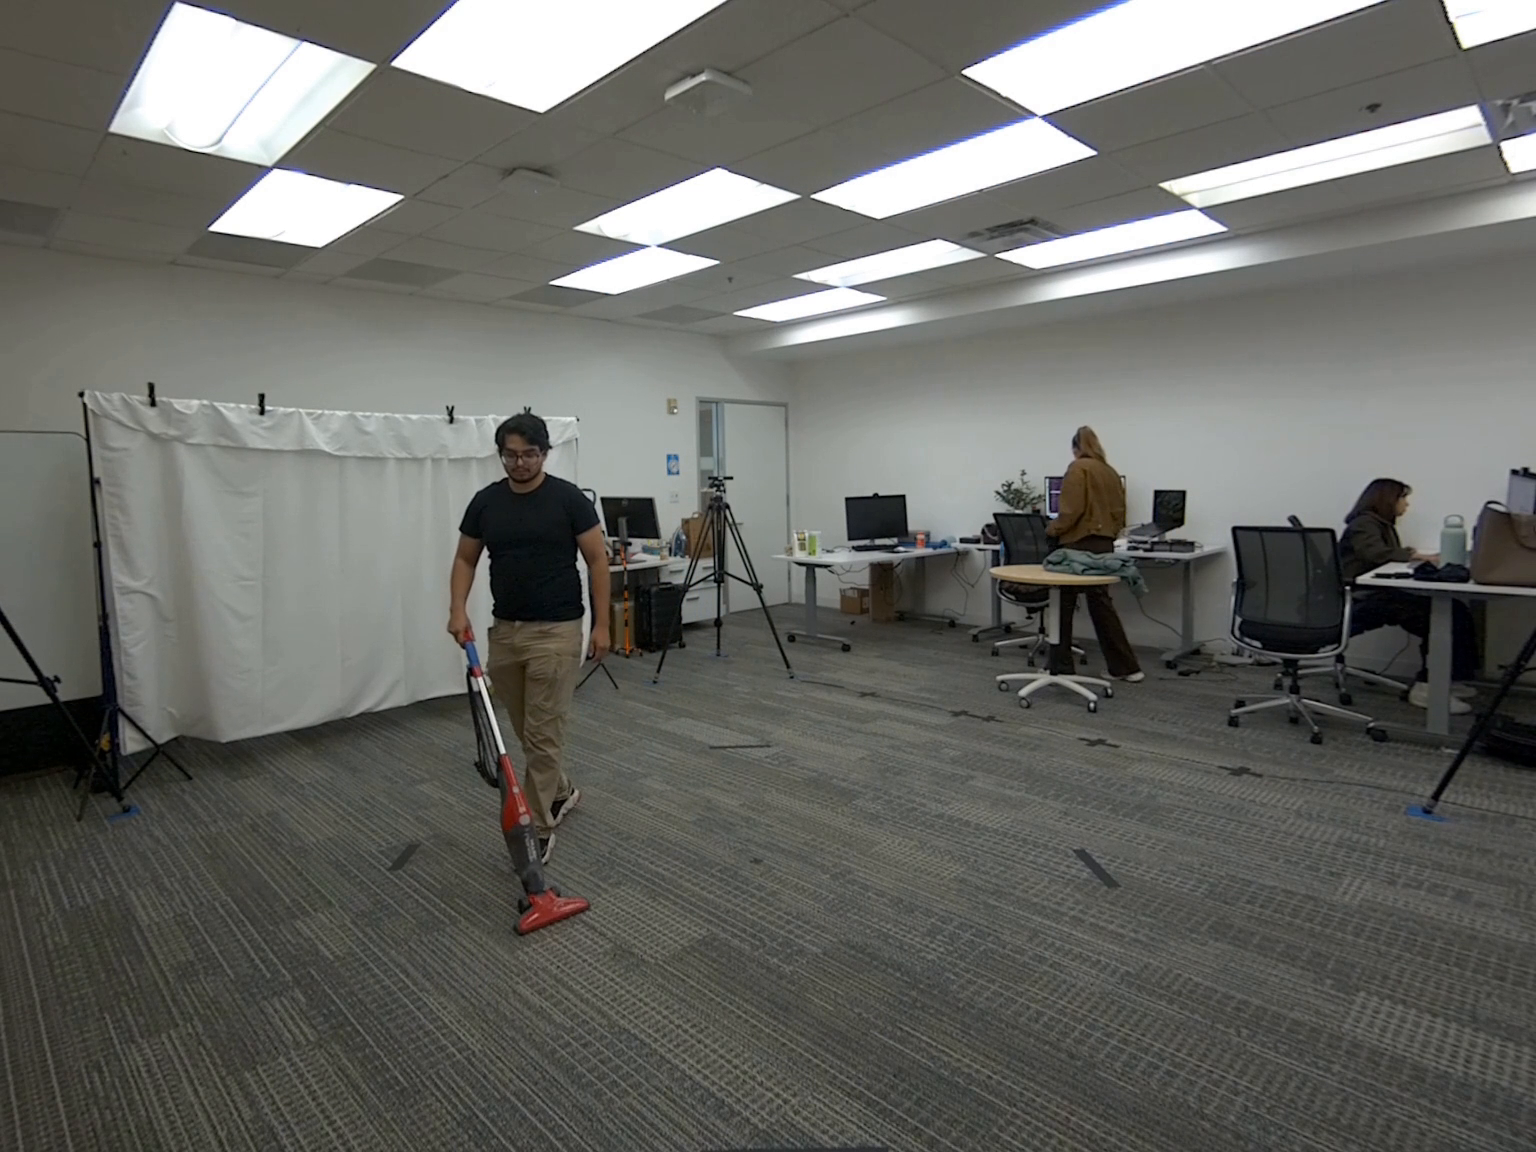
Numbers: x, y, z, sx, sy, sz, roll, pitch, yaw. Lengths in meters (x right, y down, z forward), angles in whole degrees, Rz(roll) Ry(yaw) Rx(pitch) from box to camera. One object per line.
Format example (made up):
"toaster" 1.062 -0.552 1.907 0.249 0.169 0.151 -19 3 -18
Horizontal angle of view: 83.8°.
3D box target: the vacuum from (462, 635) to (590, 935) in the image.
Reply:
"vacuum" -0.921 0.648 2.954 0.246 1.077 0.144 -4 -30 -42
